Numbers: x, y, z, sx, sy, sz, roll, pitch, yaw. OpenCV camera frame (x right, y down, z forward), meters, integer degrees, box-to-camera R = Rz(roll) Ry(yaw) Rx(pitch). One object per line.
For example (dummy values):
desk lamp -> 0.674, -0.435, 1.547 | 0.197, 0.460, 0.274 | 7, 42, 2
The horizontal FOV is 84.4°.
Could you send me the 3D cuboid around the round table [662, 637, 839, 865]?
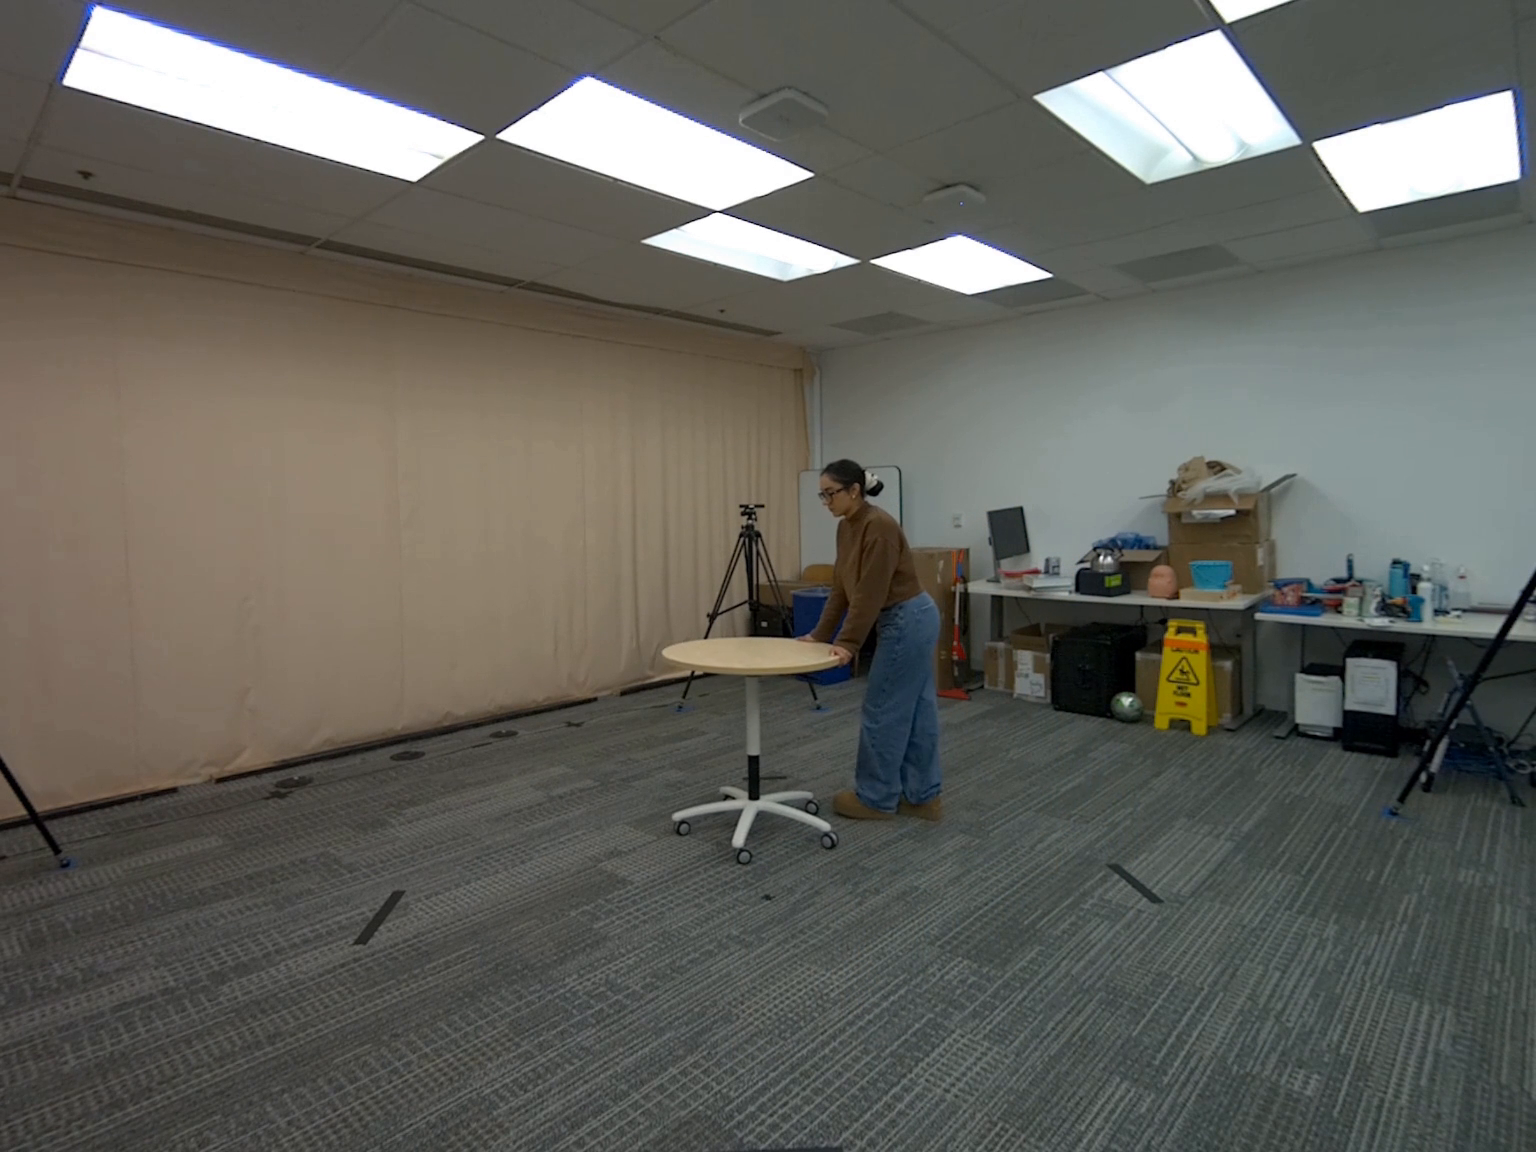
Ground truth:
round table -> -0.052, 0.706, 3.576 | 0.763, 0.792, 0.766 | -1, 4, -2
